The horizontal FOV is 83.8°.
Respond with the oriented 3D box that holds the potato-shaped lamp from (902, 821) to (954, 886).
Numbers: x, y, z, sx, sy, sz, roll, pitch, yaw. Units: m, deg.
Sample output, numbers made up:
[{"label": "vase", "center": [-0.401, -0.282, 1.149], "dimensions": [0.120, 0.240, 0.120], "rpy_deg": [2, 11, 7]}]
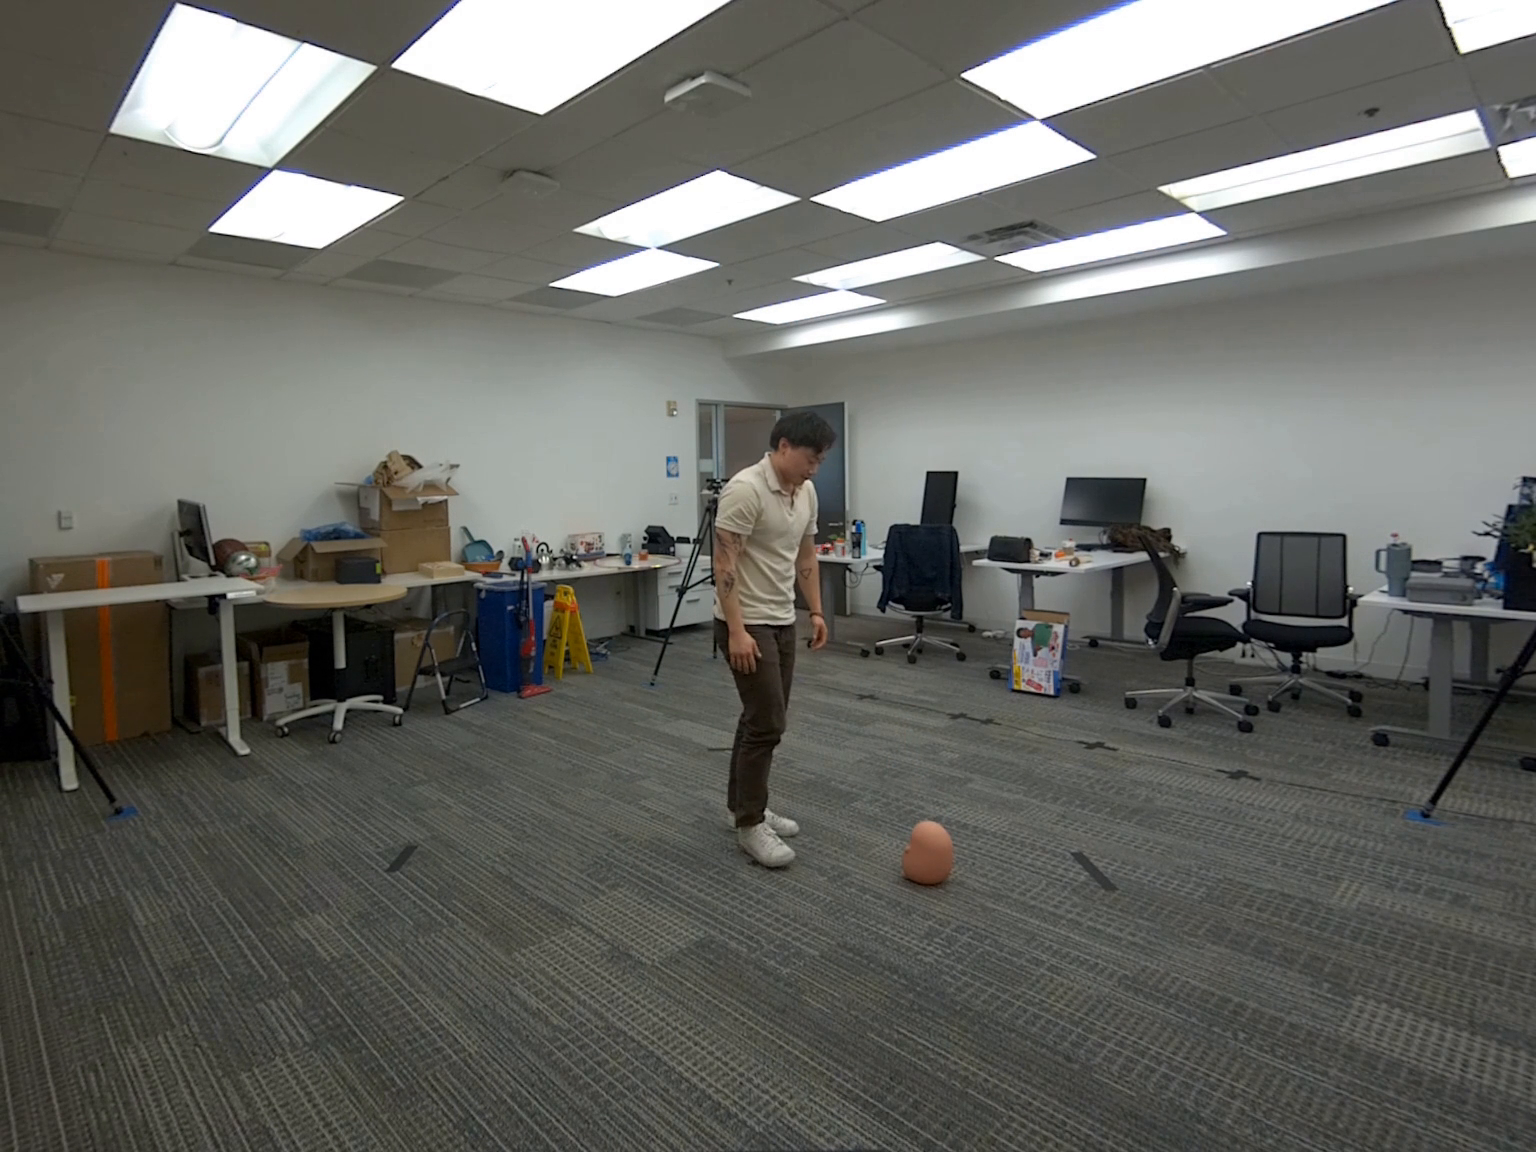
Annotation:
[{"label": "potato-shaped lamp", "center": [0.558, 0.950, 2.958], "dimensions": [0.176, 0.197, 0.161], "rpy_deg": [4, 7, 36]}]
